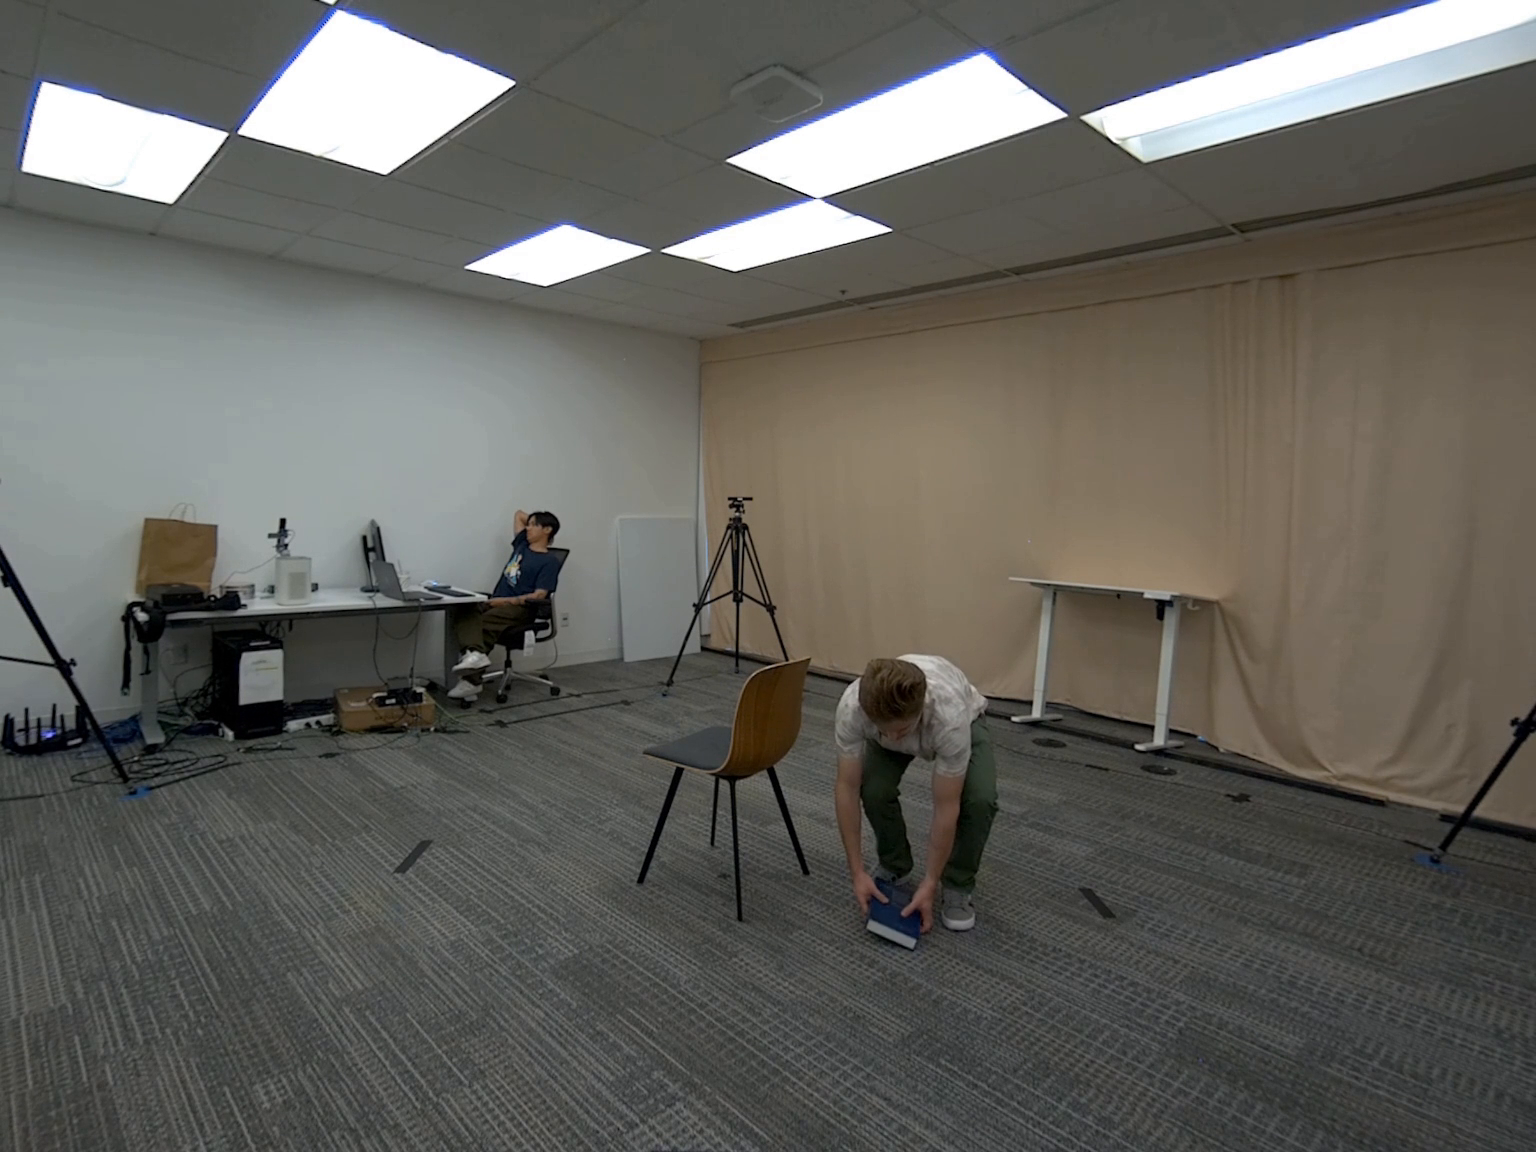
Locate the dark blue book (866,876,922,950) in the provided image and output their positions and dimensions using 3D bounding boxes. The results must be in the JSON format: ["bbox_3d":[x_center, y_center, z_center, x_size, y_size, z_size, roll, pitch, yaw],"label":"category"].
[{"bbox_3d":[0.407,1.096,2.738,0.164,0.045,0.245,19,14,5],"label":"dark blue book"}]
